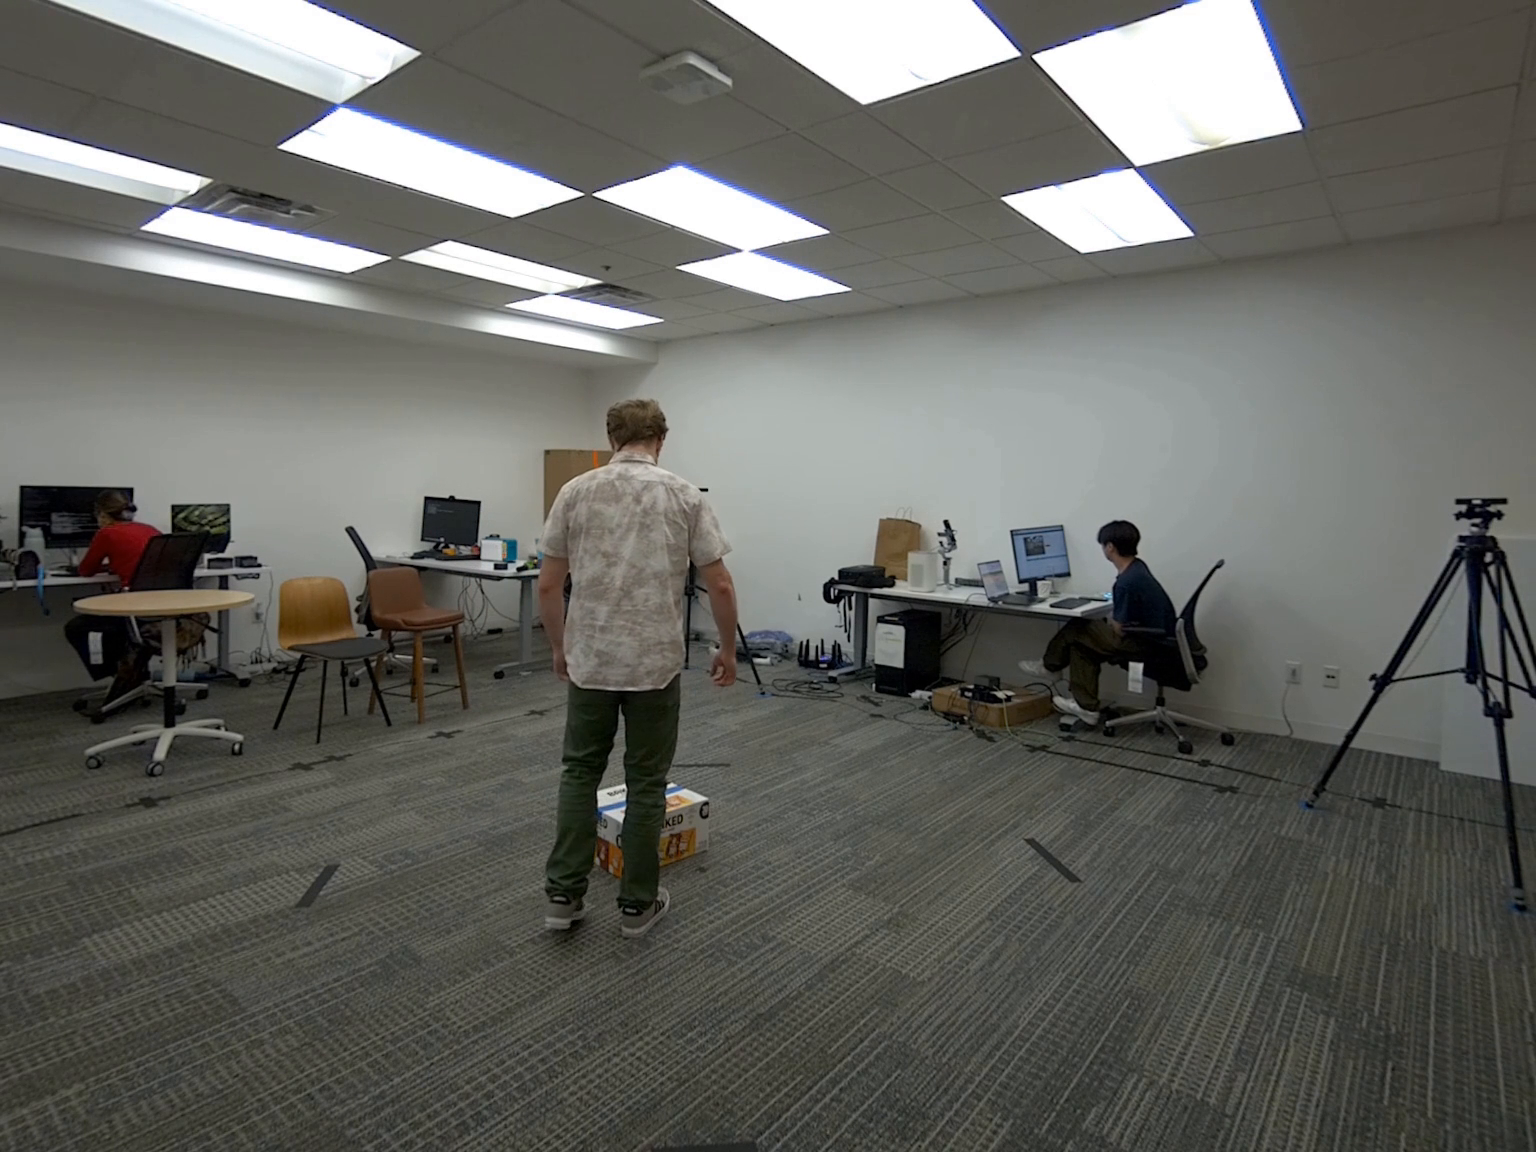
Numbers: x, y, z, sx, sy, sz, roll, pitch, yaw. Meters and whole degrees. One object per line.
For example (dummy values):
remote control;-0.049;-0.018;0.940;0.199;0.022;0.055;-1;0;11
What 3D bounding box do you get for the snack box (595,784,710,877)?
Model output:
snack box;-0.497;0.950;3.257;0.393;0.205;0.352;-4;7;-44
